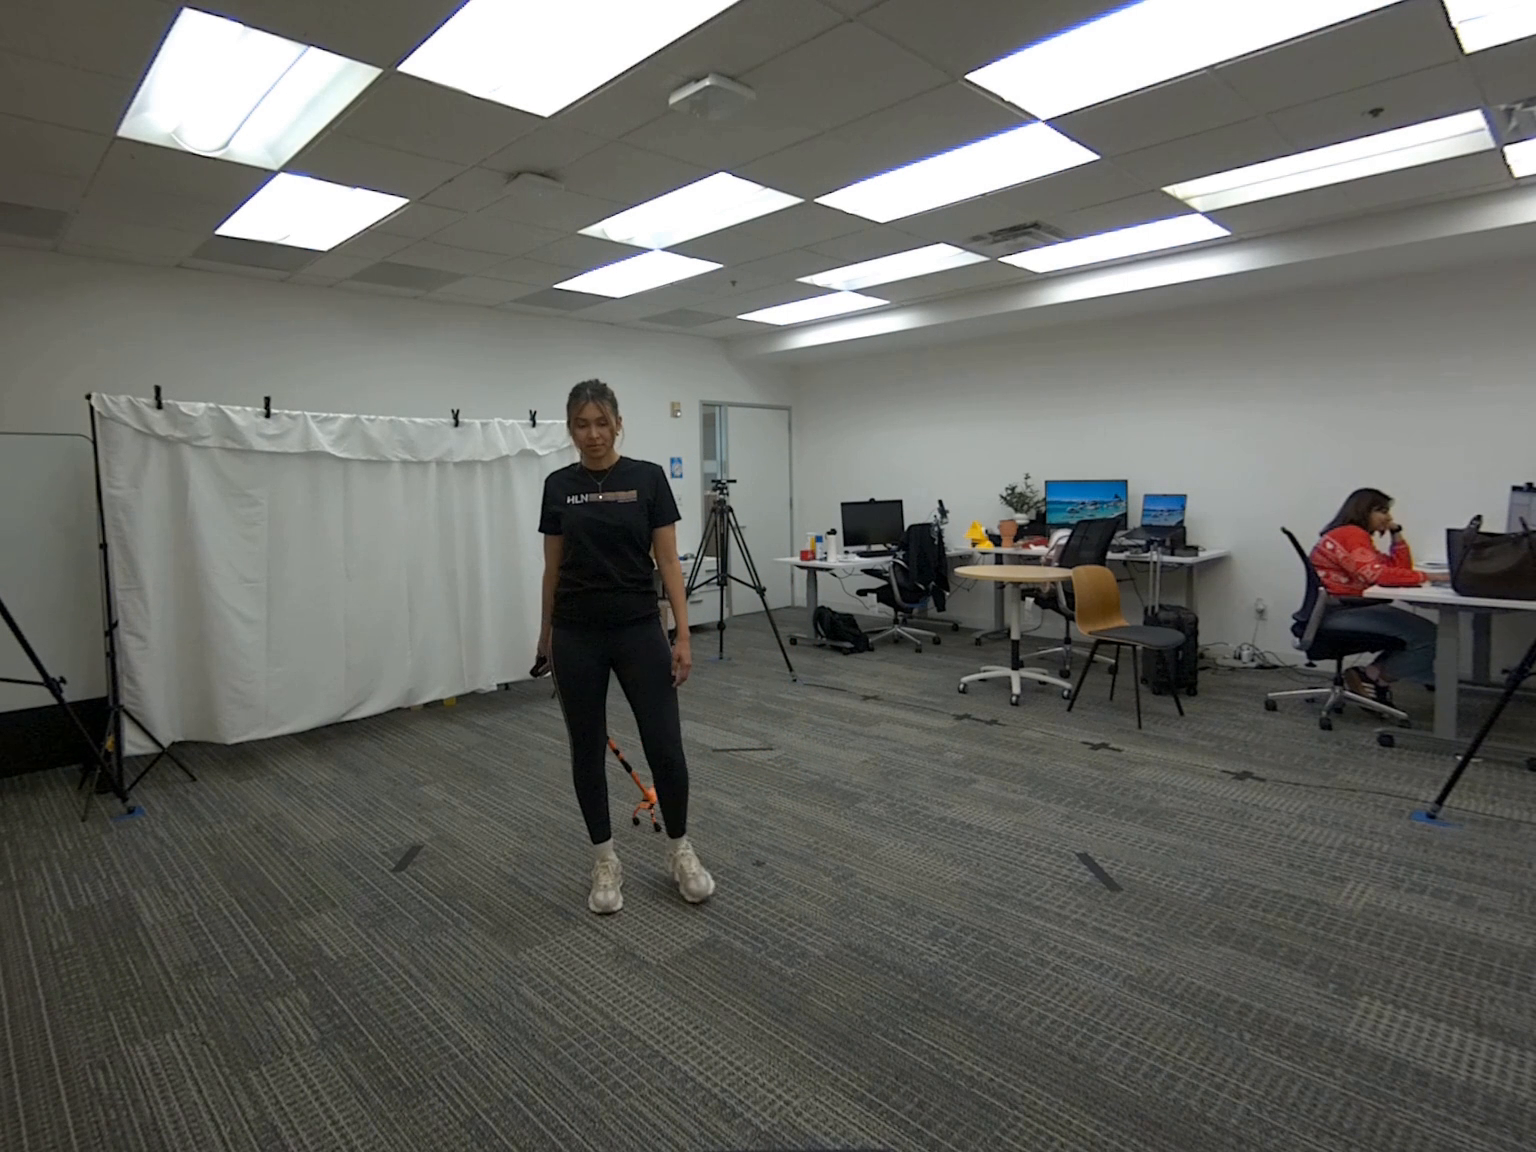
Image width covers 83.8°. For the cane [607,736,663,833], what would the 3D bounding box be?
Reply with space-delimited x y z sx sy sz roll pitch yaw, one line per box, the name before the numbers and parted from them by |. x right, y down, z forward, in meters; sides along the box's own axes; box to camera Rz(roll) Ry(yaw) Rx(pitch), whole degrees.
cane | -0.609 0.615 3.290 0.156 0.878 0.207 1 41 37
